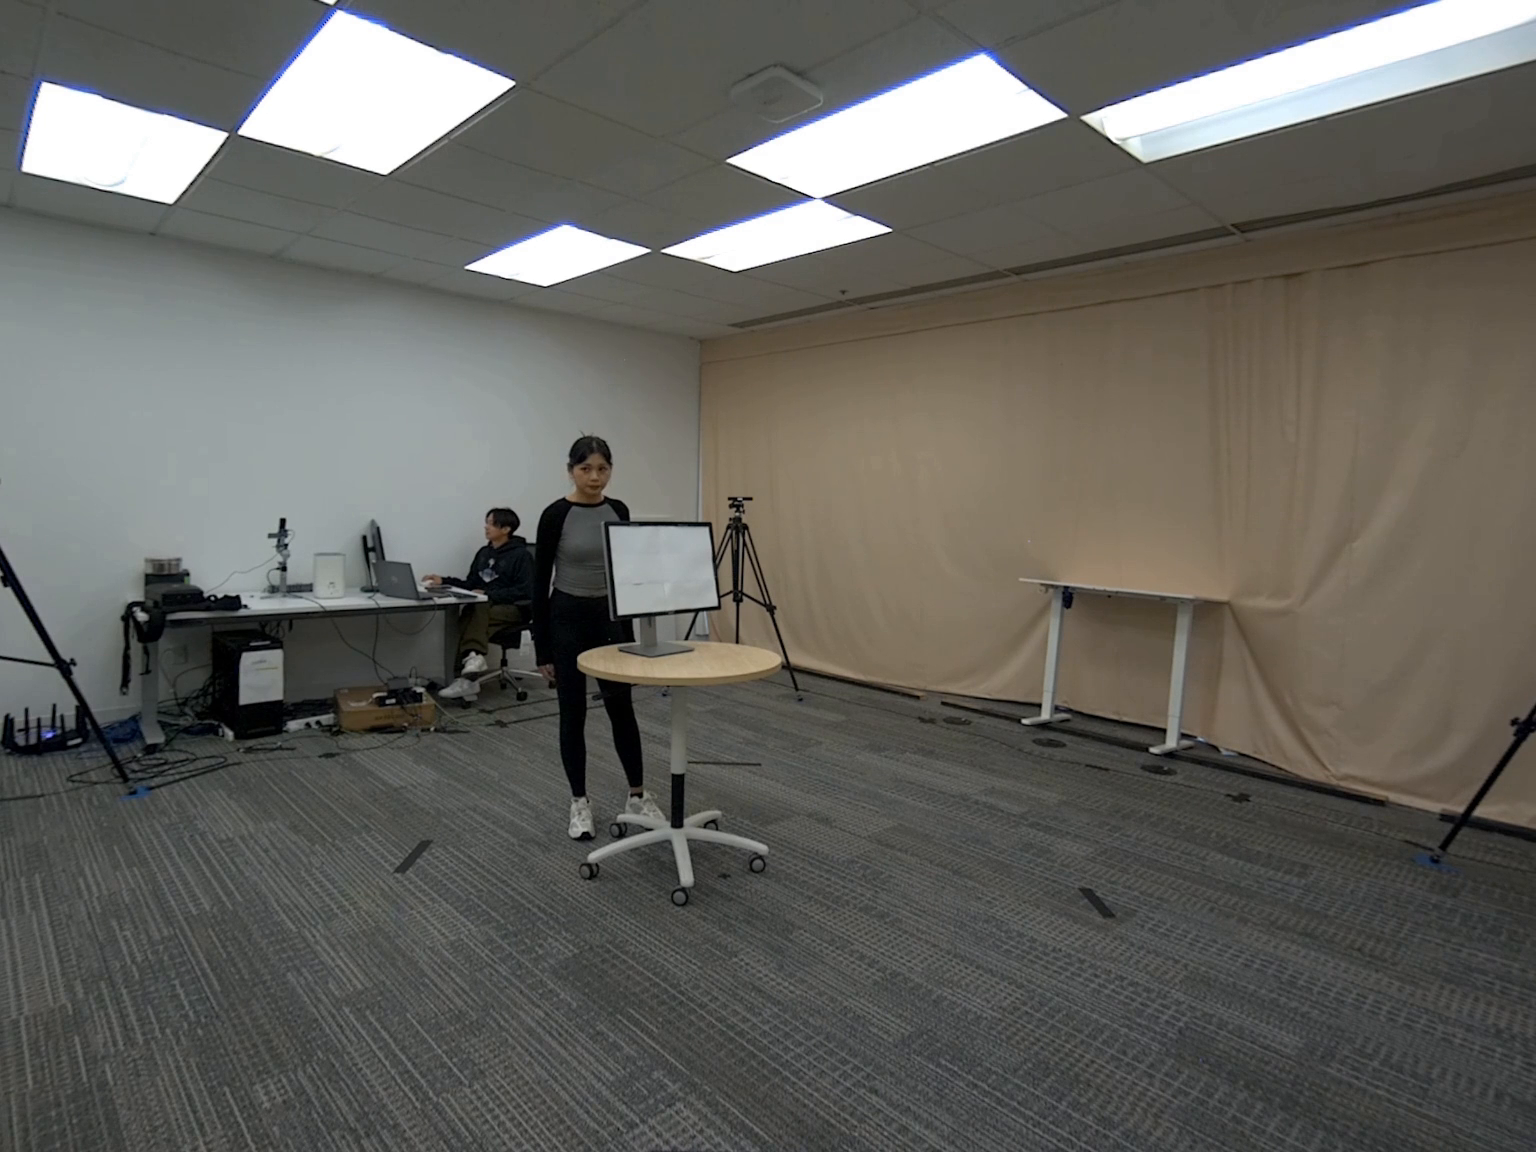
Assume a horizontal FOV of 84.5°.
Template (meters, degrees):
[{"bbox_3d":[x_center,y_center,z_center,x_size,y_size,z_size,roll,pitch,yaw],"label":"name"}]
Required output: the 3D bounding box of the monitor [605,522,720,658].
[{"bbox_3d":[-0.434,0.049,3.286,0.179,0.514,0.518,14,10,40],"label":"monitor"}]
